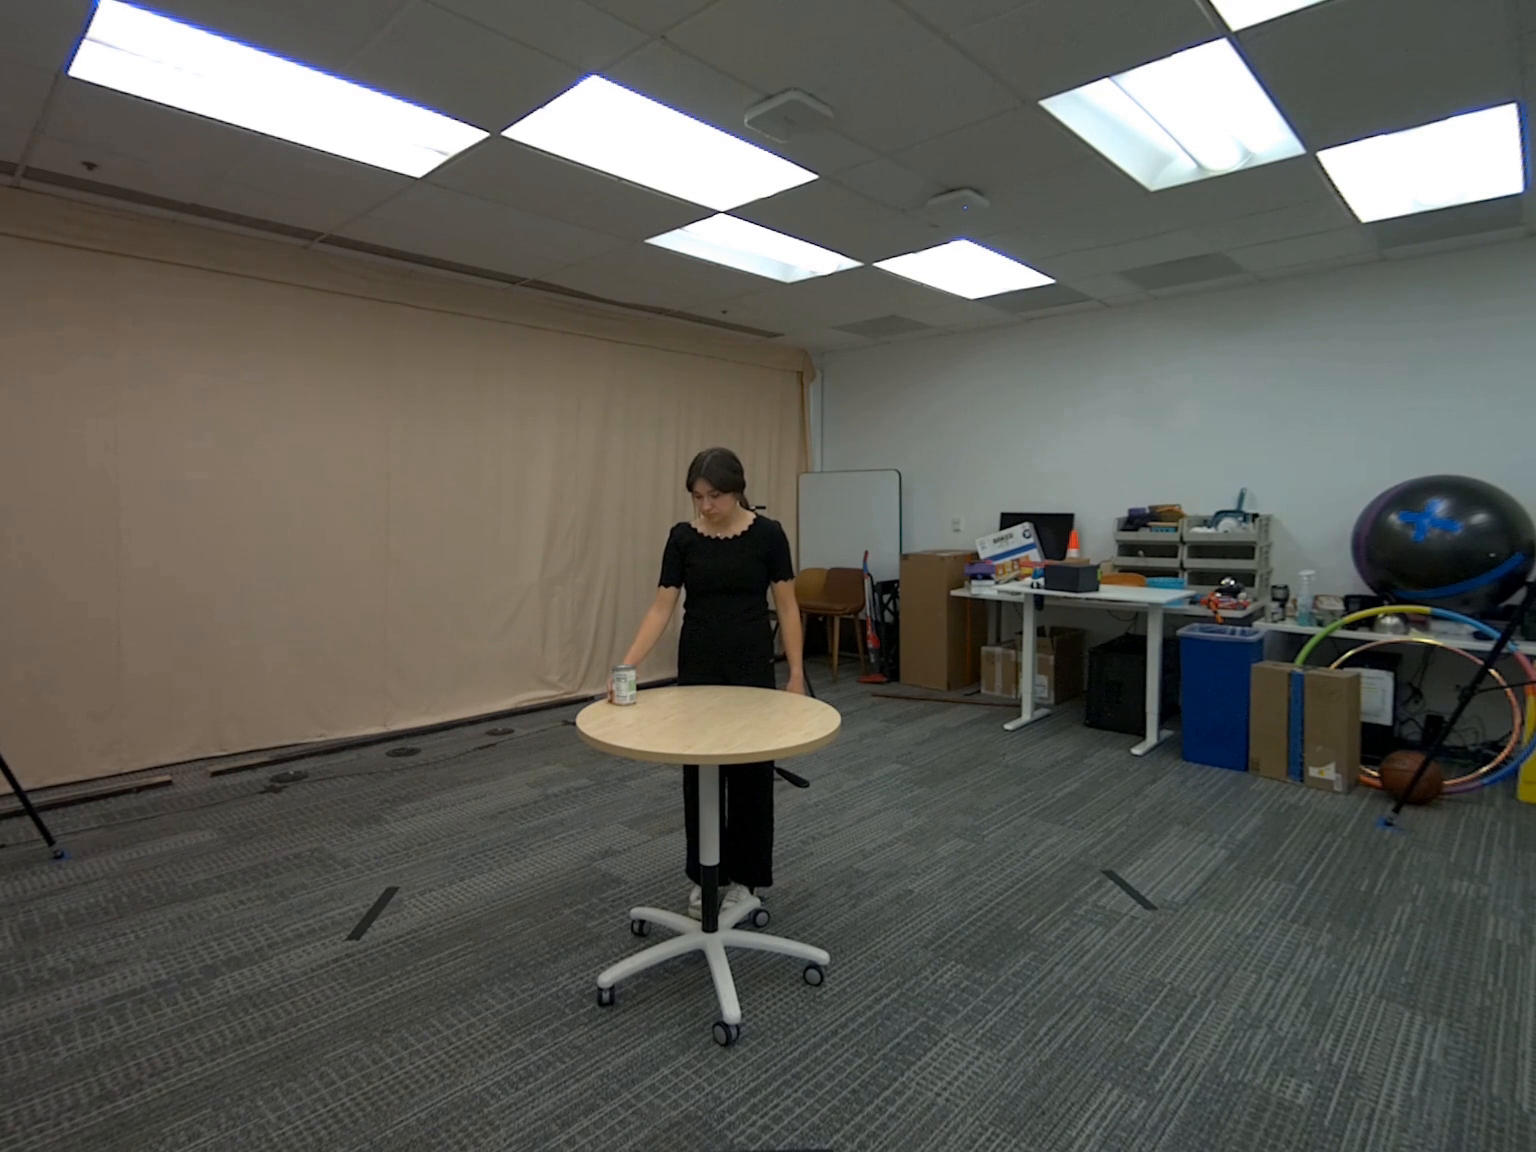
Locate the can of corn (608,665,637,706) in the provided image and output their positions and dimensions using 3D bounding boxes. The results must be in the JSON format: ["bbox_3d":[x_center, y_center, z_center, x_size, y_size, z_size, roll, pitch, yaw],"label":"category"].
[{"bbox_3d":[-0.438,0.339,2.583,0.074,0.111,0.074,-1,3,-2],"label":"can of corn"}]
